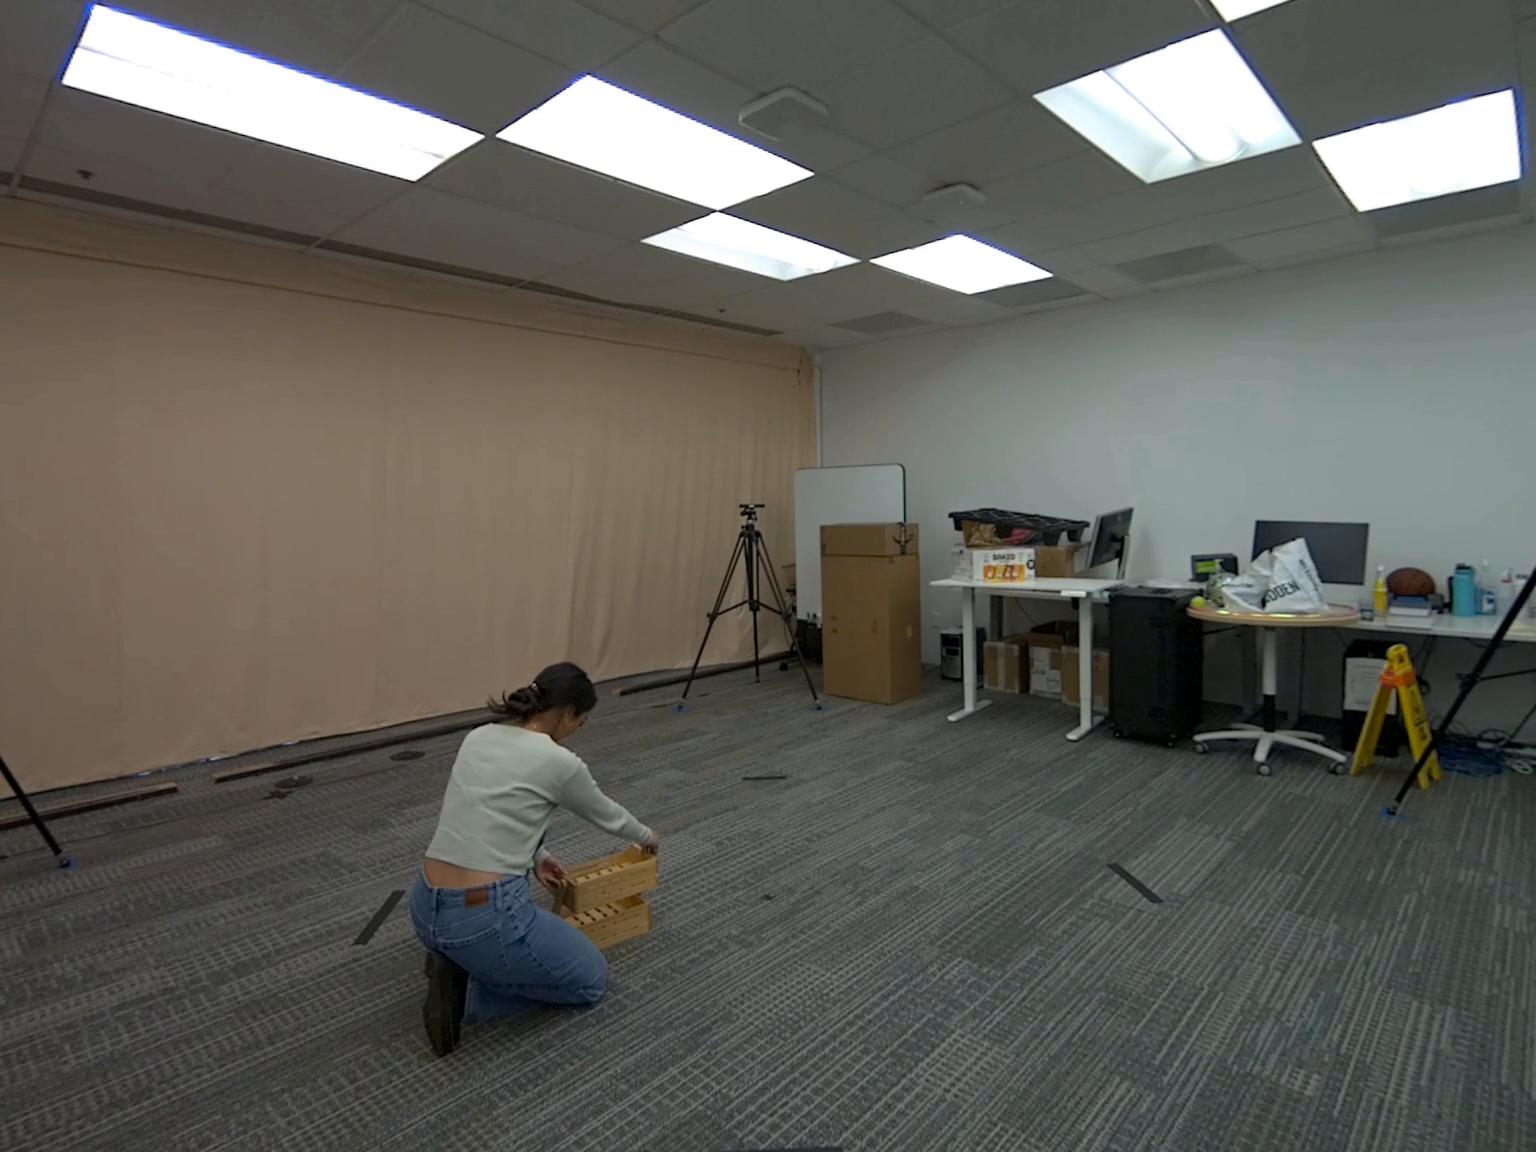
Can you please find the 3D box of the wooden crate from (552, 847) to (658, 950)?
[{"bbox_3d":[-0.565,1.038,2.753,0.315,0.272,0.312,-4,5,-38],"label":"wooden crate"}]
